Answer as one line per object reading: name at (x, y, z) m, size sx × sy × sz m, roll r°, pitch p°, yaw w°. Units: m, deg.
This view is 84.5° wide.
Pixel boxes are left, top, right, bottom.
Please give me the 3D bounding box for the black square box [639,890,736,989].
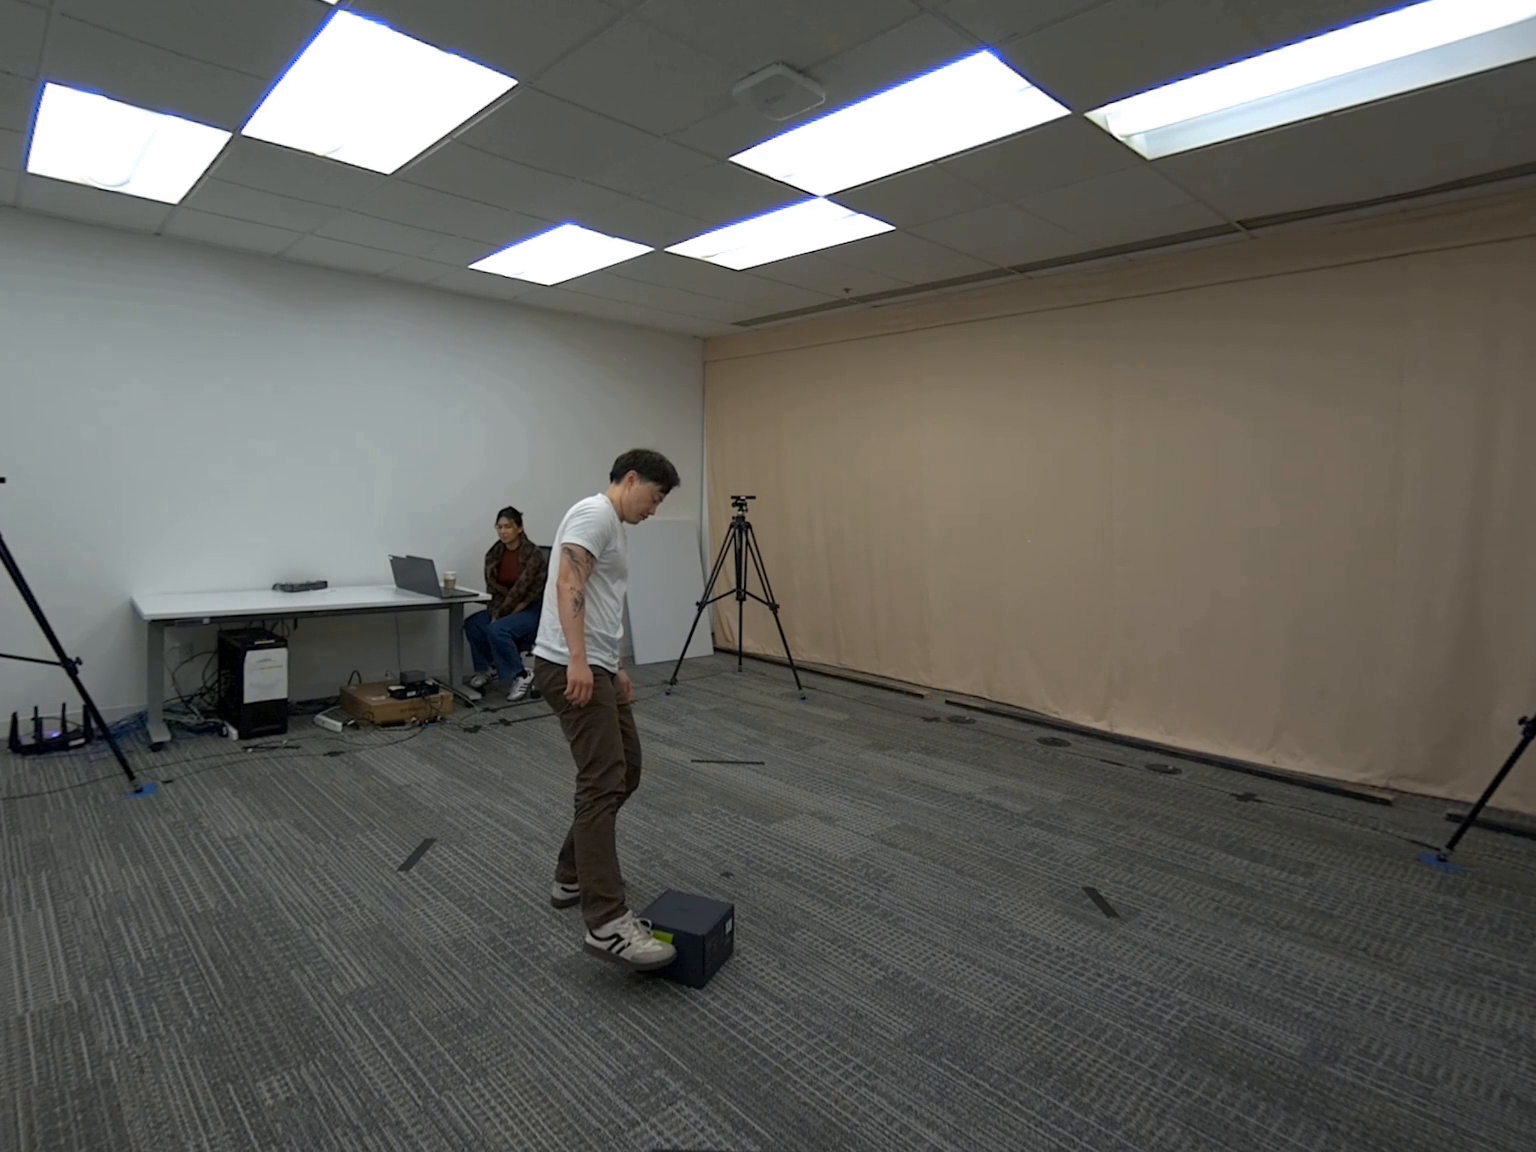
black square box at (-0.254, 1.070, 2.505) m, size 0.232 × 0.155 × 0.214 m, roll 2°, pitch 5°, yaw 23°
